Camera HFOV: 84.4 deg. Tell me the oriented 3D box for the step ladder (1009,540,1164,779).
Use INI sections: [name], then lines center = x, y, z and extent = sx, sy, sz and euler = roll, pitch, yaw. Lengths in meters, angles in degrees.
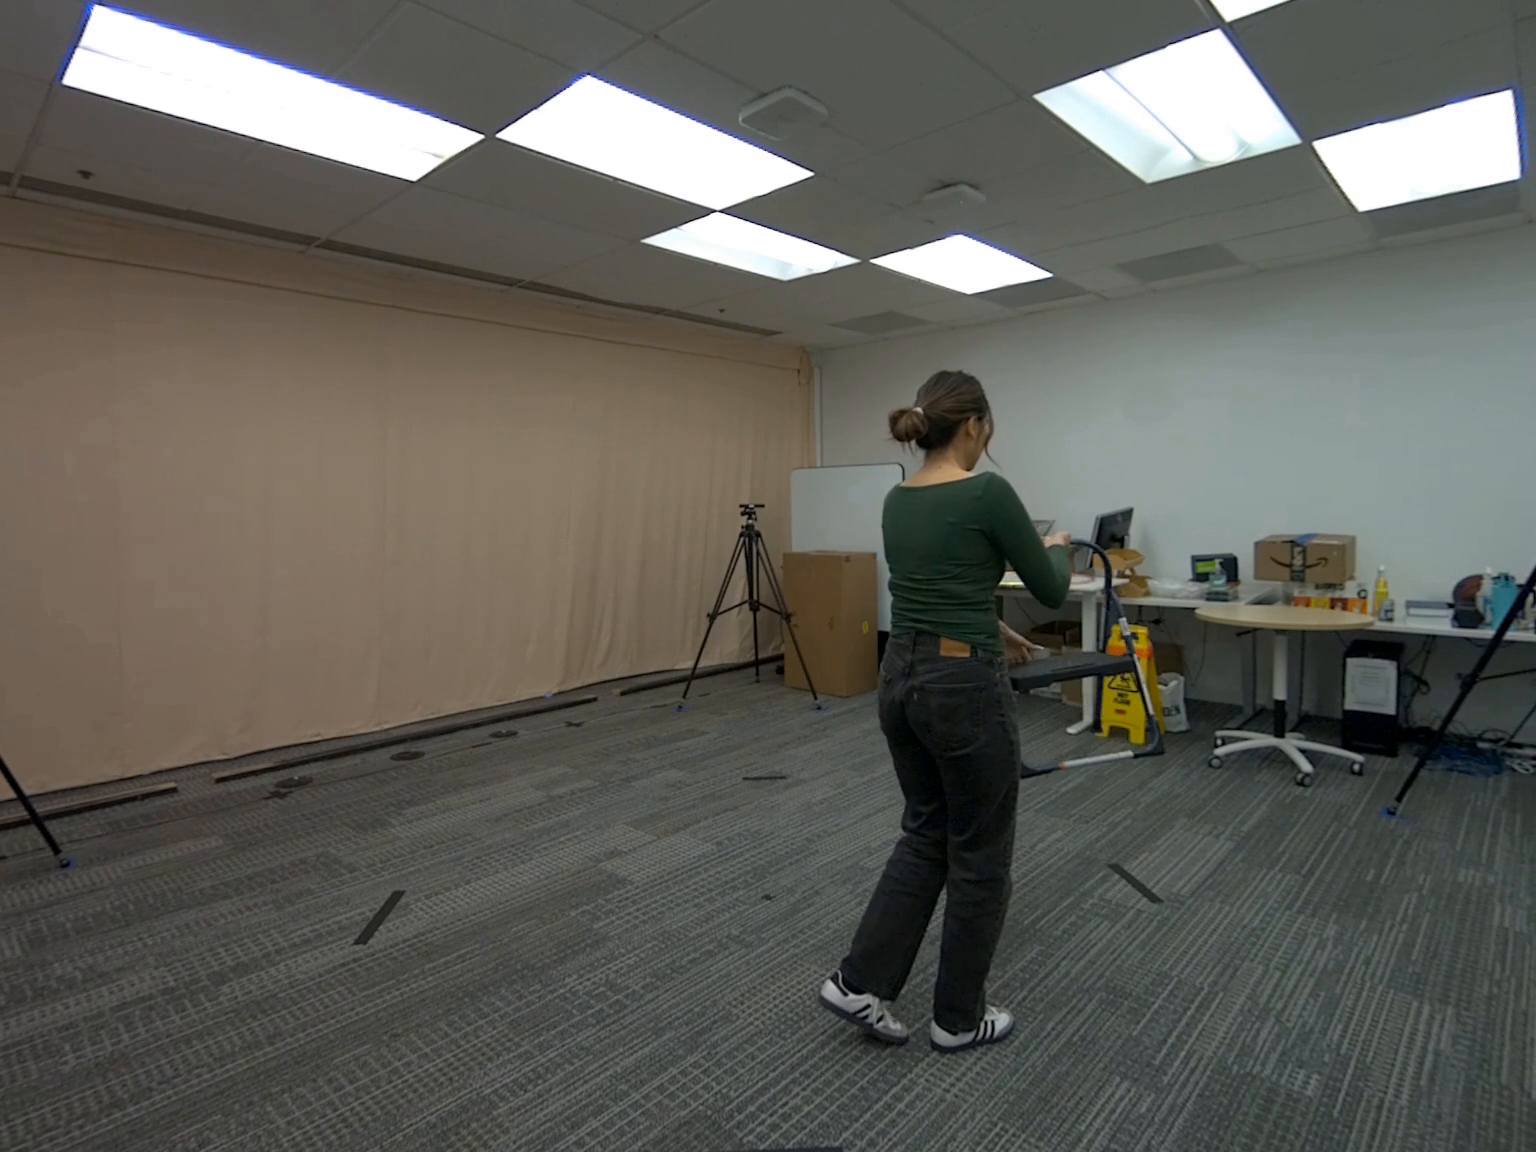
[step ladder]
center = 0.790, 0.209, 2.391
extent = 0.427, 0.605, 0.352
euler = -8, 1, -8
